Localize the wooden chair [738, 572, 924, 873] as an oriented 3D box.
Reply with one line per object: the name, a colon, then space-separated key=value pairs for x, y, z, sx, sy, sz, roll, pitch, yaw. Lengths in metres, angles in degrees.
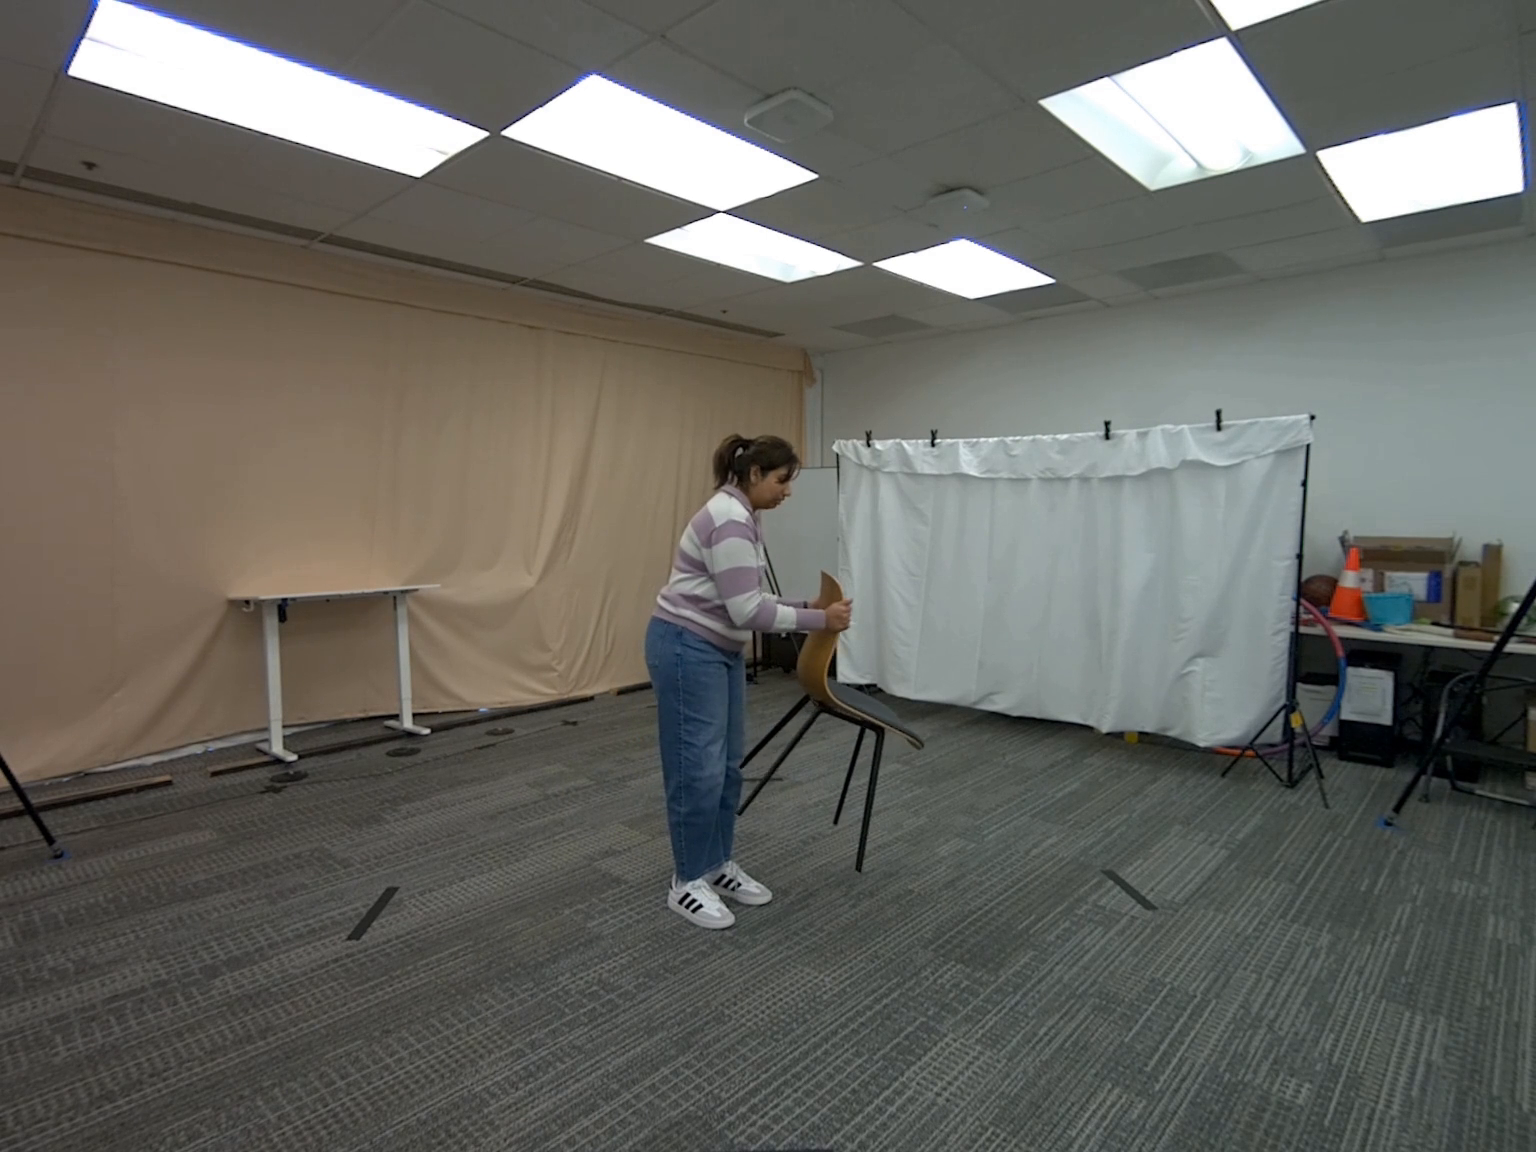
wooden chair: x=0.276 y=0.490 z=2.955 sx=0.522 sy=0.877 sz=0.480 roll=21 pitch=2 yaw=-4
